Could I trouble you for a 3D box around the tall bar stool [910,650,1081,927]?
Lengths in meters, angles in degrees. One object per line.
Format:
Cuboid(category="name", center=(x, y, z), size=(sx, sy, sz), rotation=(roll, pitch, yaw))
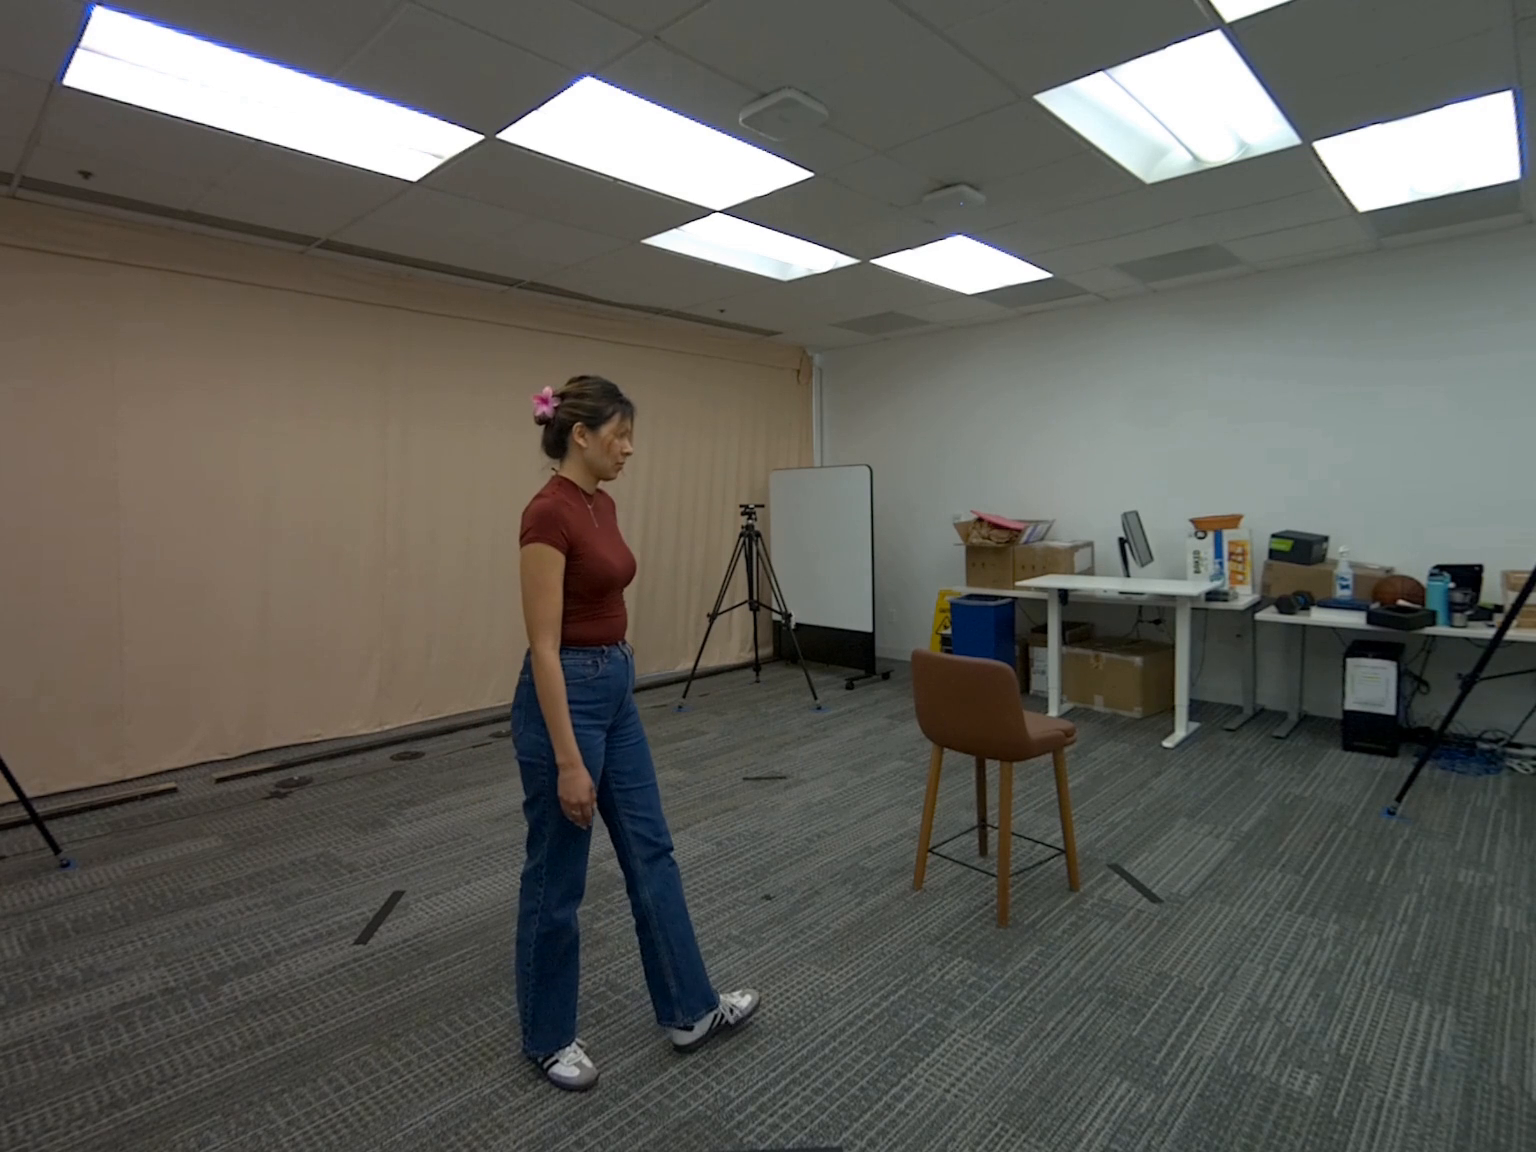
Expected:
Cuboid(category="tall bar stool", center=(0.807, 0.691, 2.997), size=(0.454, 0.887, 0.471), rotation=(-5, 5, -40))
